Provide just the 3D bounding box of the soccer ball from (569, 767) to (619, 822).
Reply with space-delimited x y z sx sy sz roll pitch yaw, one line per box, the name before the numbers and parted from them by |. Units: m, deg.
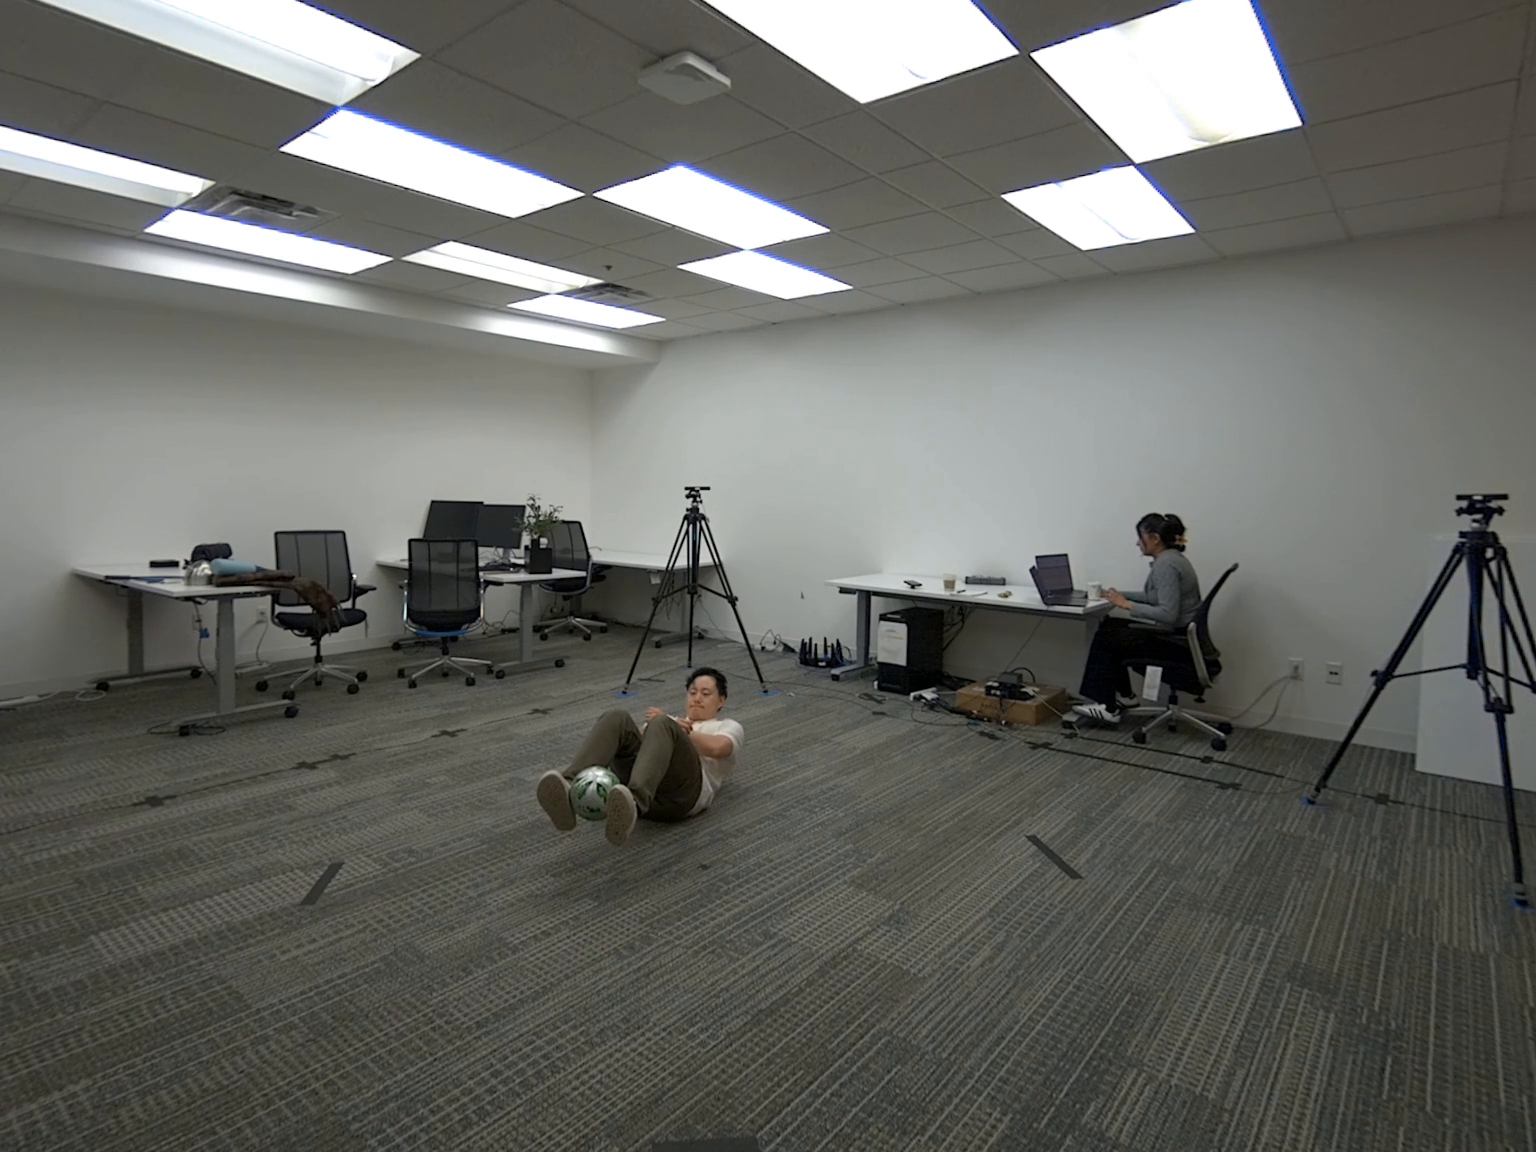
soccer ball | -0.638 0.774 3.032 0.187 0.187 0.188 1 4 -2
